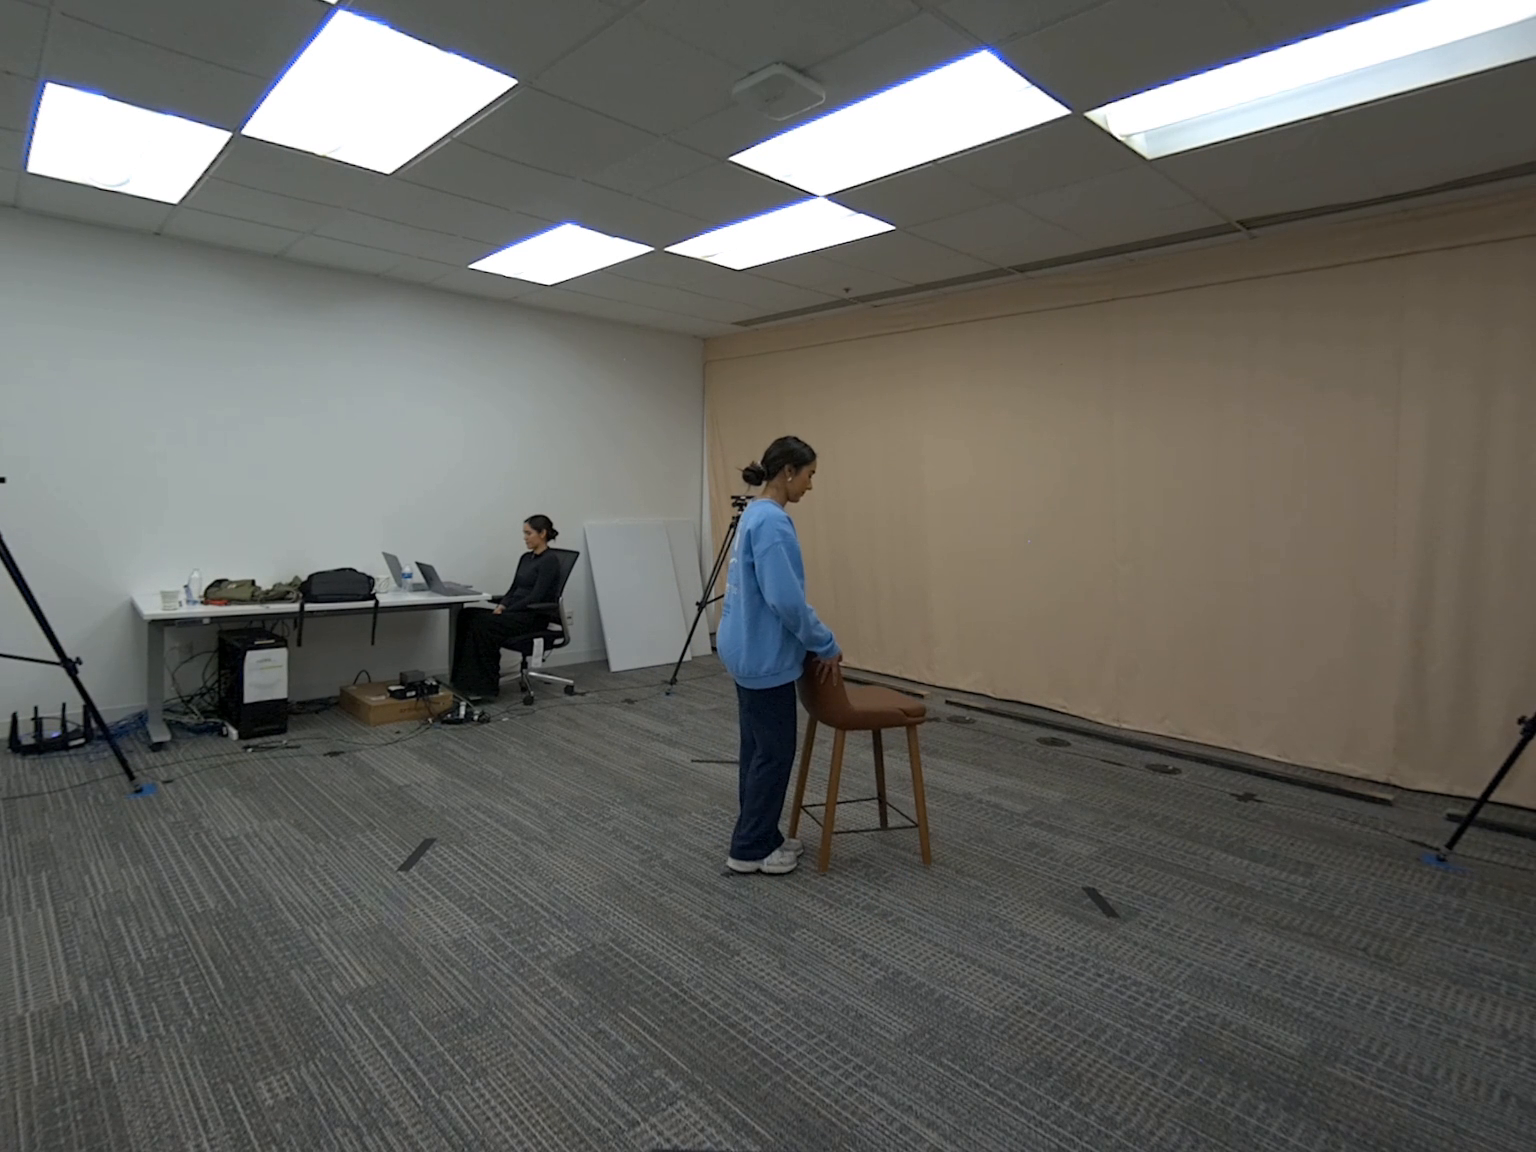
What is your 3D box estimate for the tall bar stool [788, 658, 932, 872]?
[{"bbox_3d":[0.341,0.650,3.329,0.461,0.888,0.463,-2,3,-18],"label":"tall bar stool"}]
